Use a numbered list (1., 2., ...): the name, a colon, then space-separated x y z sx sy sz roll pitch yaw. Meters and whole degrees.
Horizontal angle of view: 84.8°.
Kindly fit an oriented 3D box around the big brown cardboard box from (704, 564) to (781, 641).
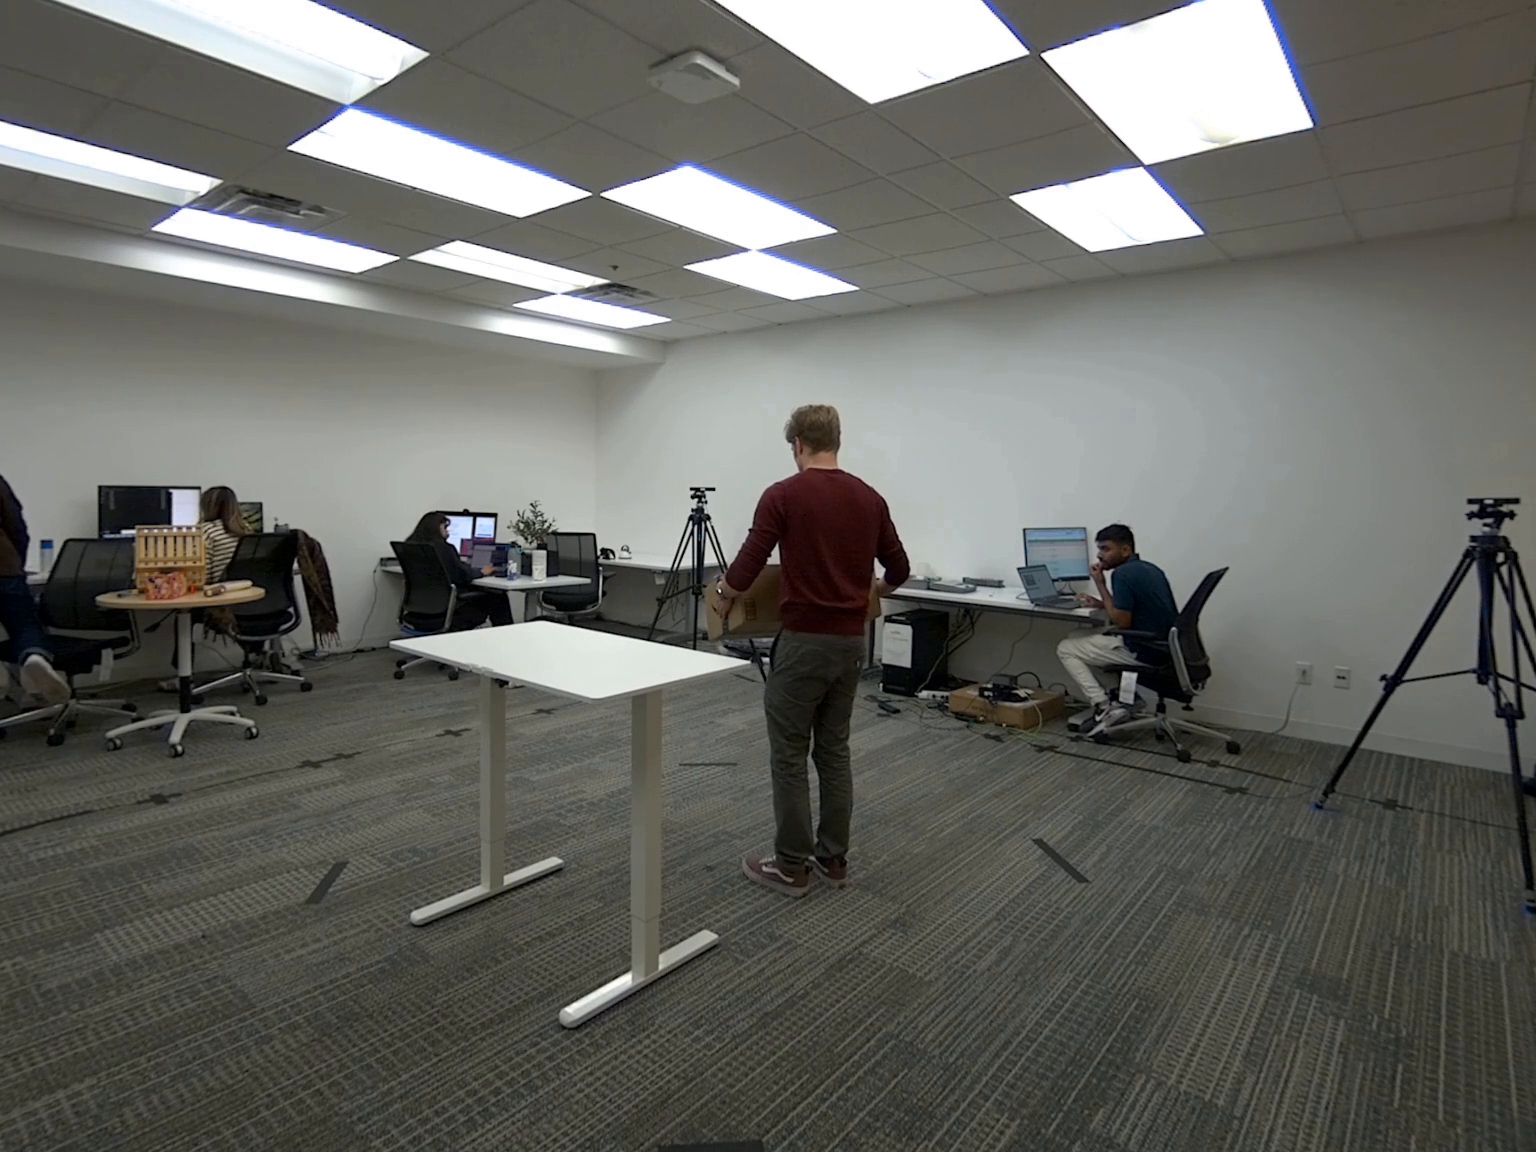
1. big brown cardboard box: 0.068 0.099 3.325 0.577 0.236 0.420 -1 -13 -20
